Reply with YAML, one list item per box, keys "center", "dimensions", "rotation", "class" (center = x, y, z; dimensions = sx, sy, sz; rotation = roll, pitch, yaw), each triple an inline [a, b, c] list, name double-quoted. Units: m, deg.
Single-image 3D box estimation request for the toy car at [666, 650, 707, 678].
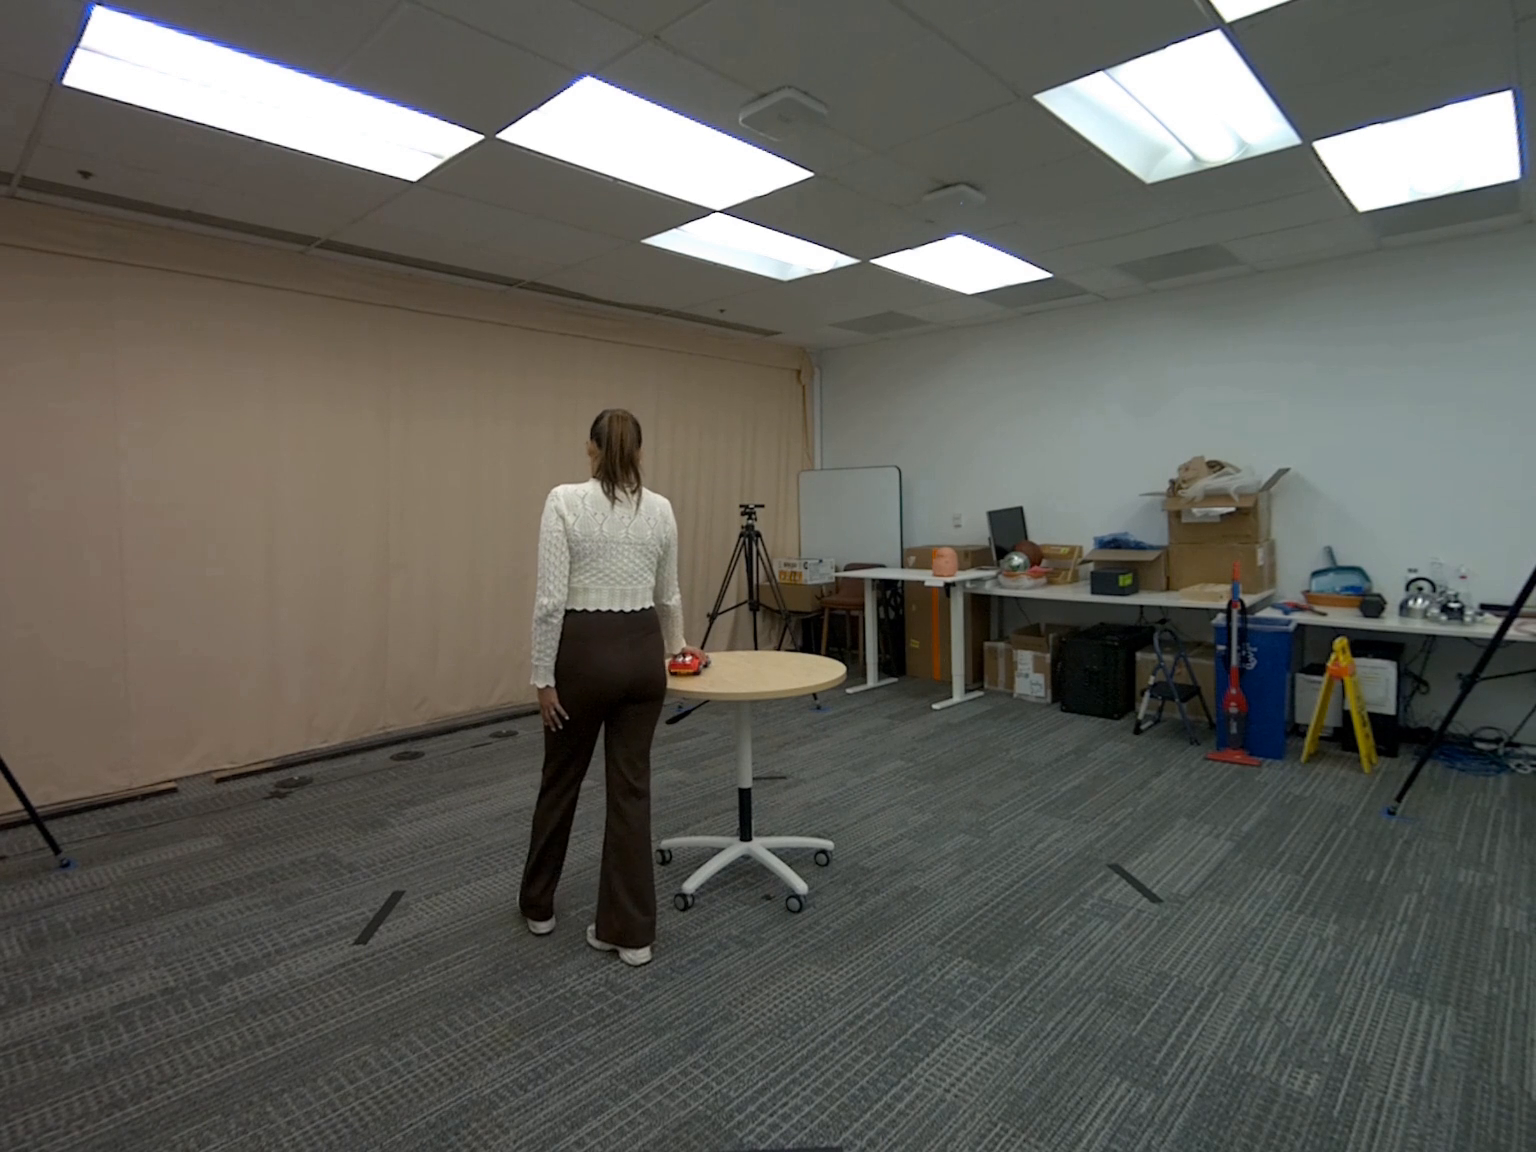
- center: [-0.293, 0.320, 3.085]
  dimensions: [0.131, 0.083, 0.251]
  rotation: [-1, -6, 8]
  class: "toy car"
